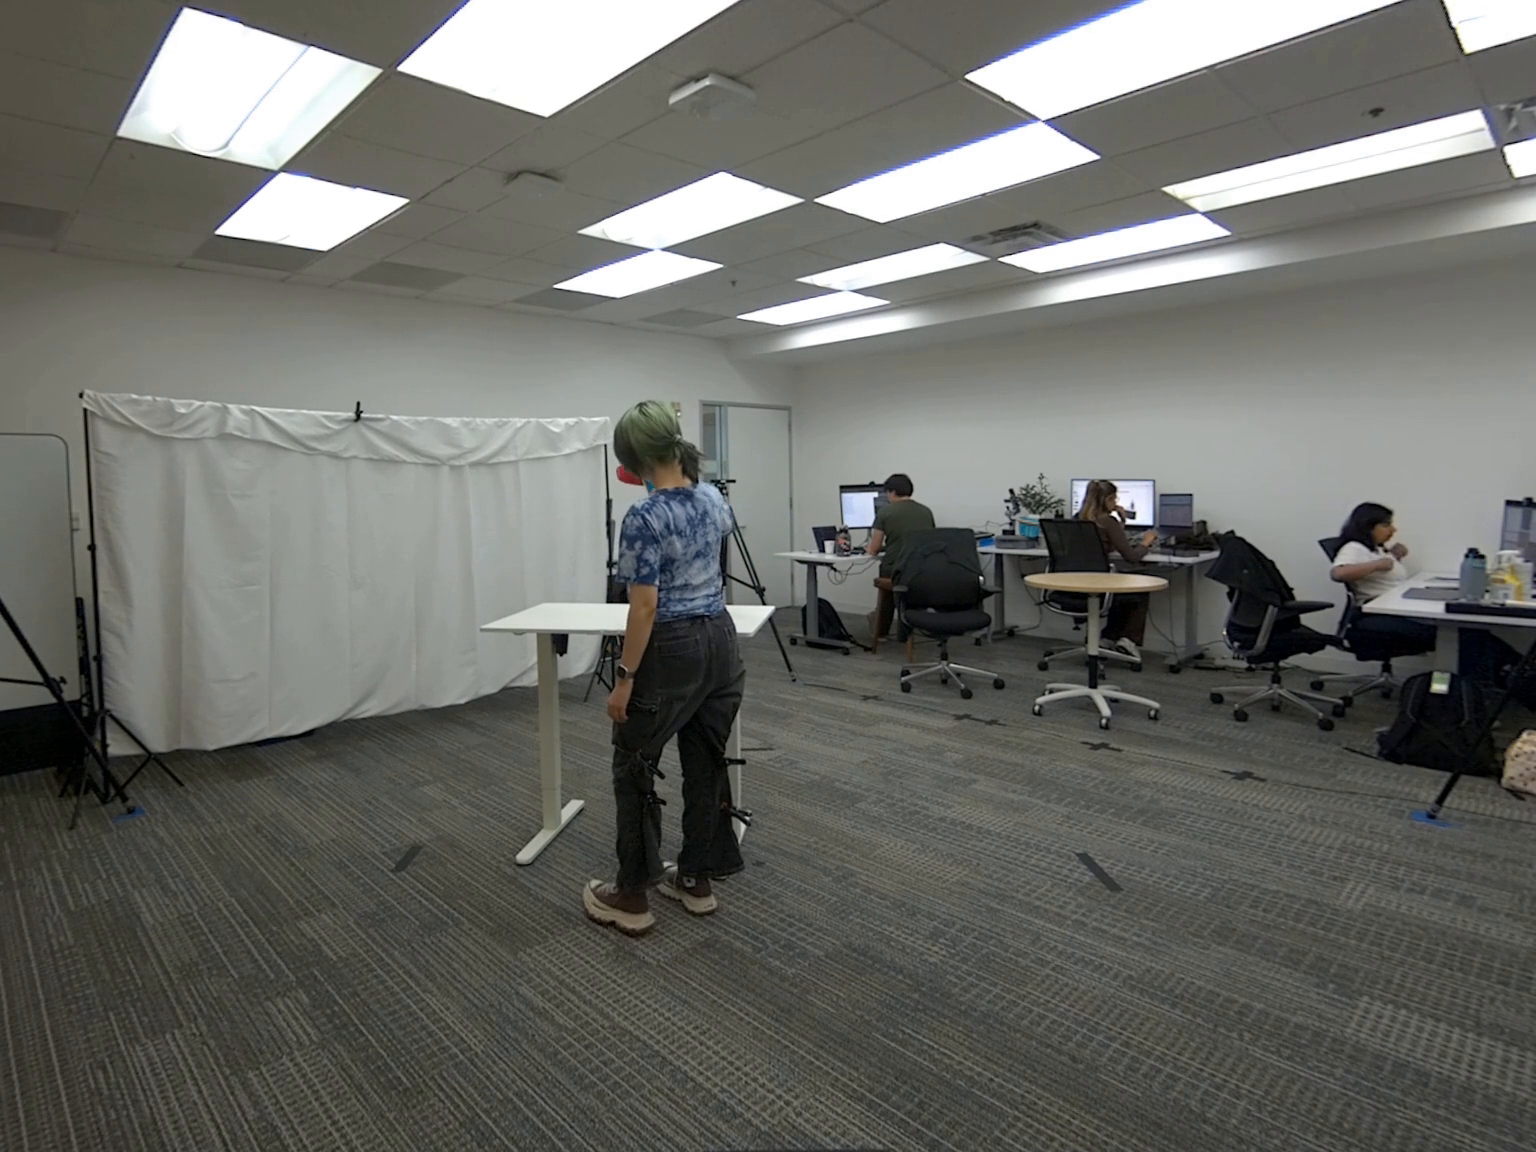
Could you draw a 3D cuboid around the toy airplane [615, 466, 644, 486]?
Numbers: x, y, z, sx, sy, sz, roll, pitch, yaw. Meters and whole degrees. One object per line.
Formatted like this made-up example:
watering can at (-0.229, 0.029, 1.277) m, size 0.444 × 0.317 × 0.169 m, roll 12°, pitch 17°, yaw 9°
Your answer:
toy airplane at (-0.432, -0.371, 3.319) m, size 0.248 × 0.264 × 0.155 m, roll -33°, pitch -18°, yaw -47°
